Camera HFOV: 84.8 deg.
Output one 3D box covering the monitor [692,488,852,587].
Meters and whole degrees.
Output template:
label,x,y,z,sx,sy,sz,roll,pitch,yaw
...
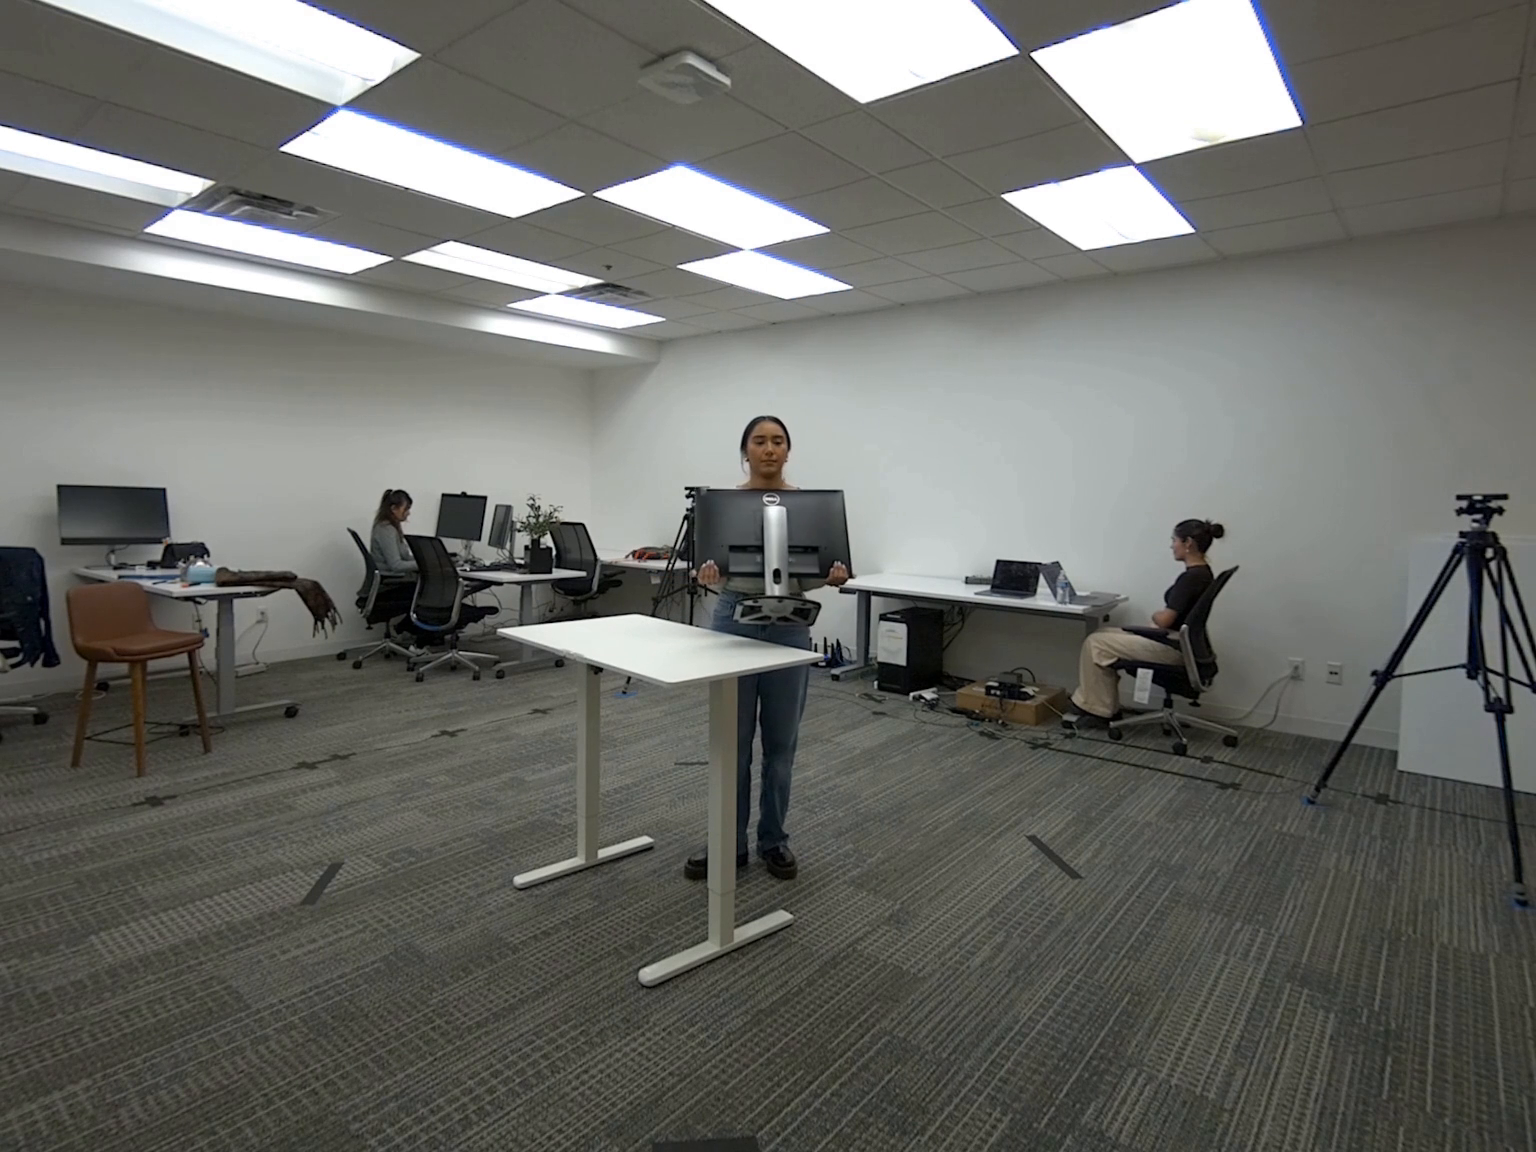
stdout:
label,x,y,z,sx,sy,sz,roll,pitch,yaw
monitor,0.018,-0.099,2.887,0.536,0.537,0.183,1,-35,-5
